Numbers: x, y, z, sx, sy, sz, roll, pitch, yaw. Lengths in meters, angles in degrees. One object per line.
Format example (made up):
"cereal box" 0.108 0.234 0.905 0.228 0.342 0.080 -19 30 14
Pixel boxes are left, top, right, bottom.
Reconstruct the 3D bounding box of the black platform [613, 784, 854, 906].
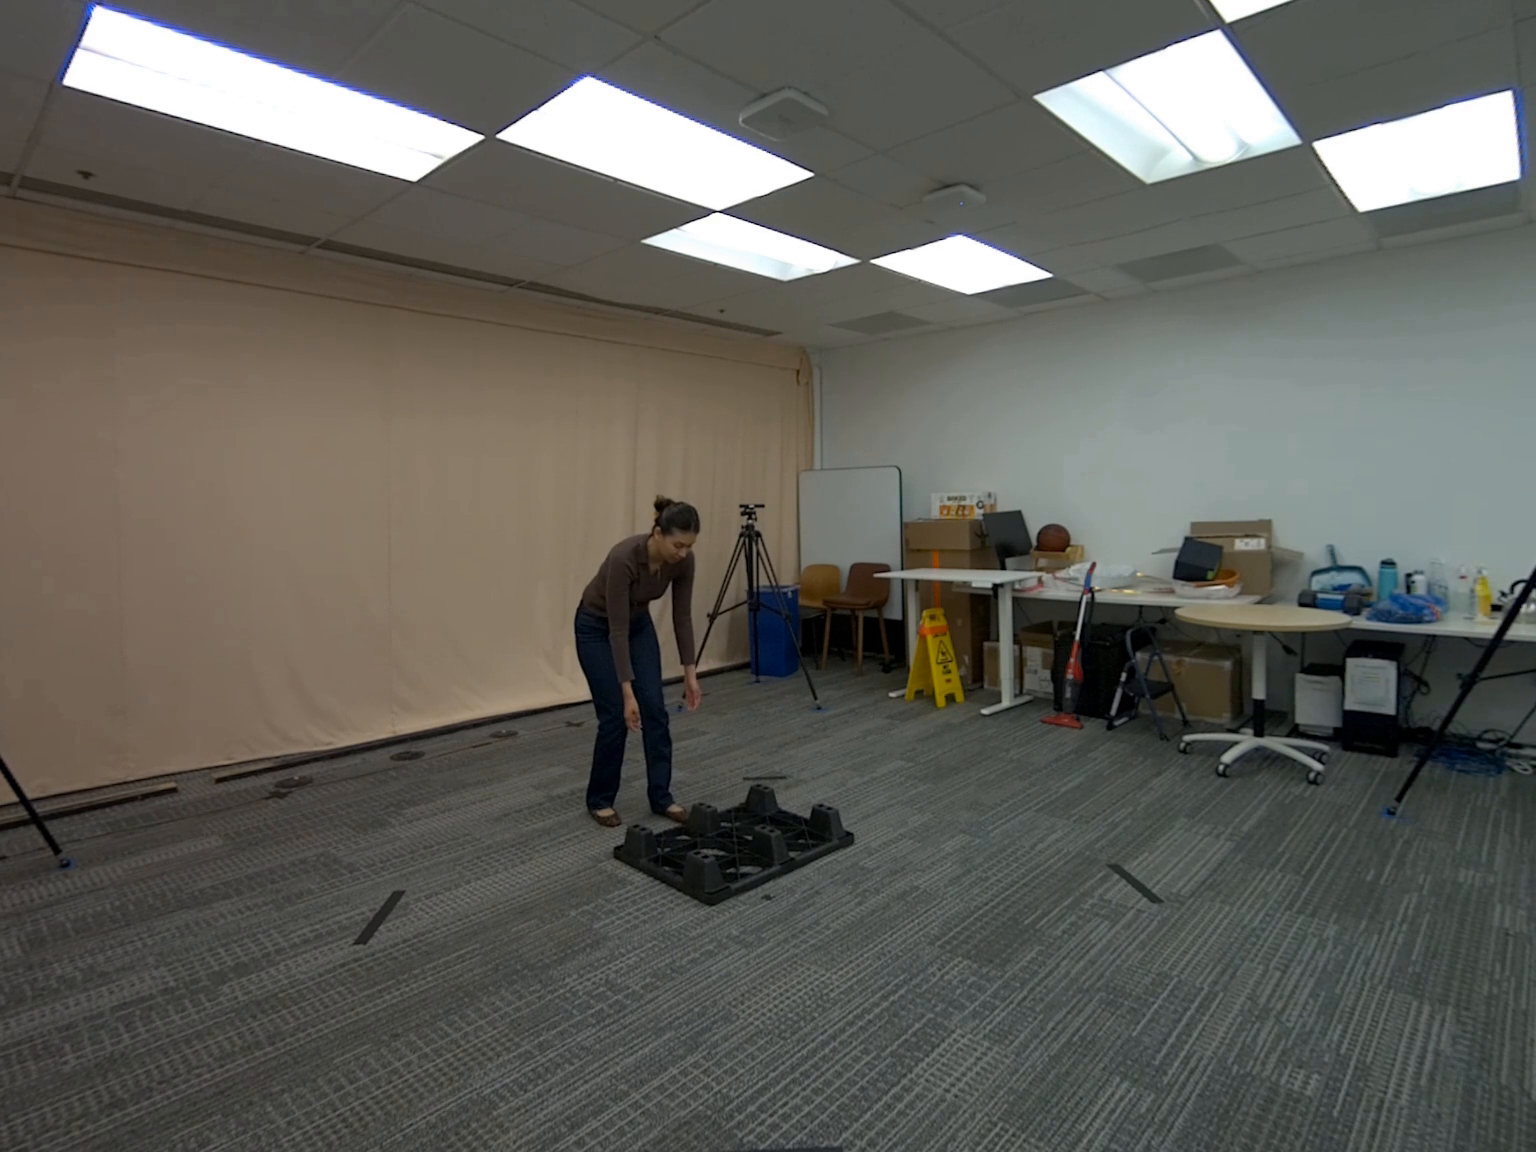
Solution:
"black platform" -0.129 1.042 3.390 0.781 0.143 0.625 -6 6 -44
